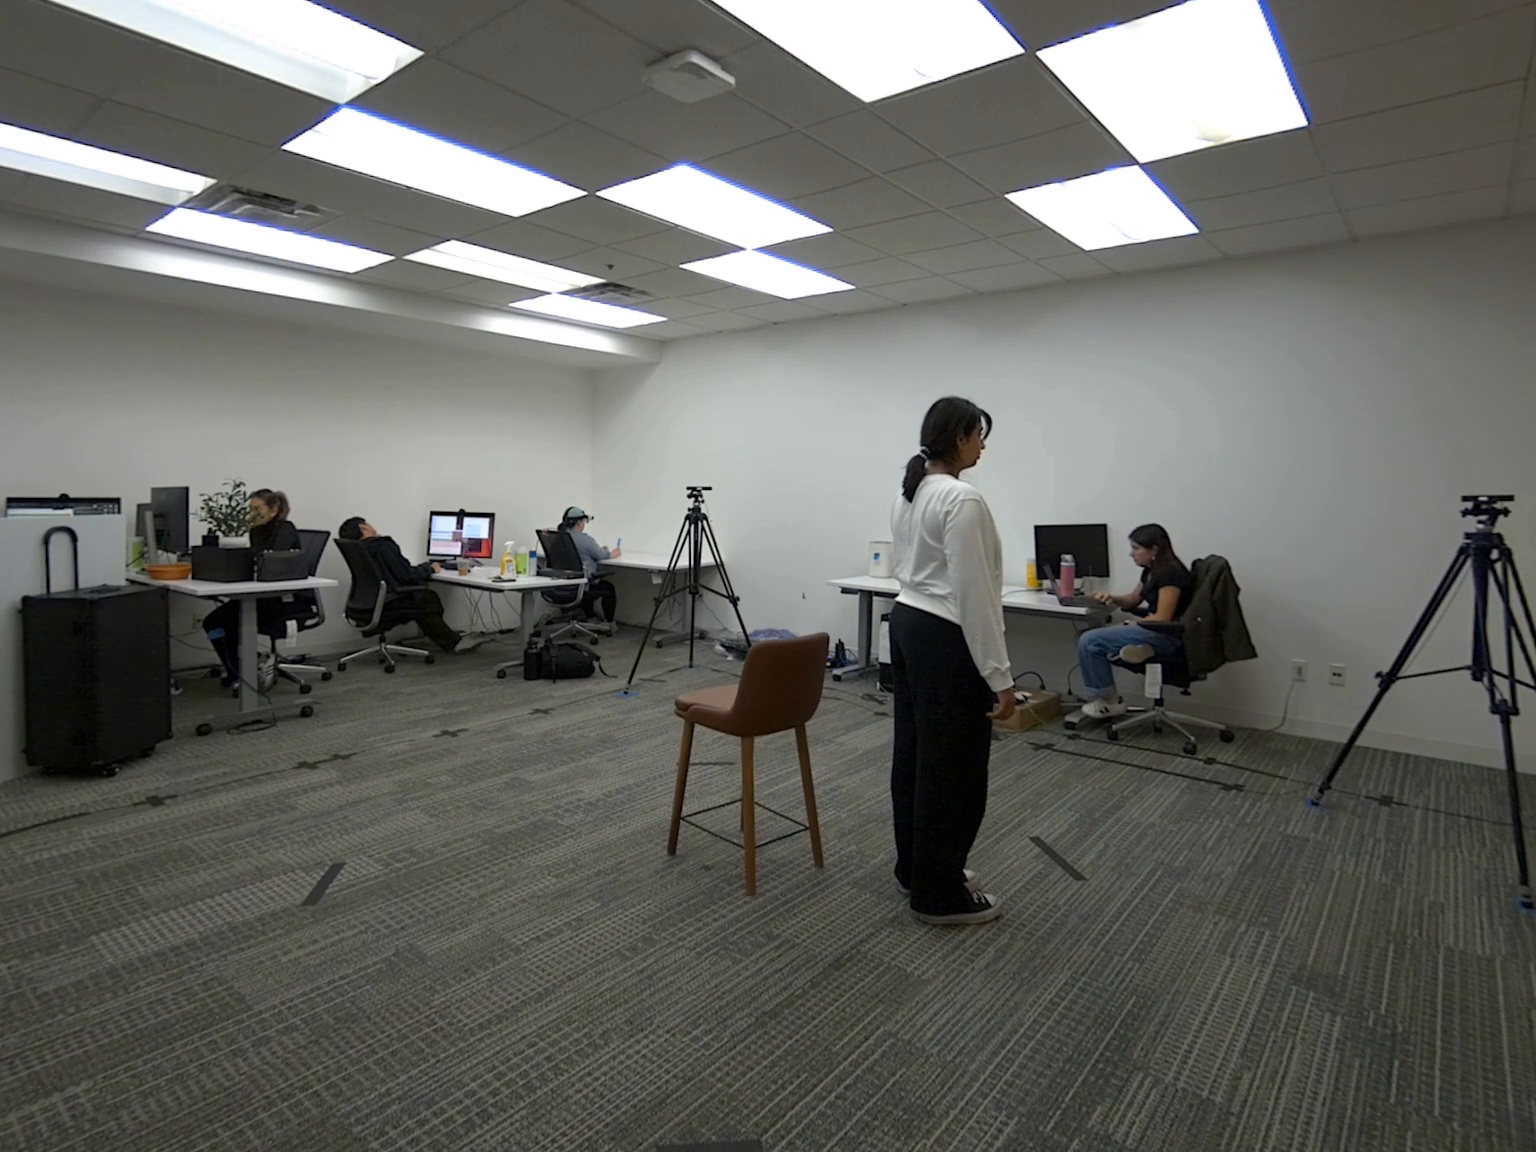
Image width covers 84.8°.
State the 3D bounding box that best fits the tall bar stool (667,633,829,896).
[{"bbox_3d":[-0.067,0.627,3.162,0.442,0.886,0.484,-1,6,-42],"label":"tall bar stool"}]
